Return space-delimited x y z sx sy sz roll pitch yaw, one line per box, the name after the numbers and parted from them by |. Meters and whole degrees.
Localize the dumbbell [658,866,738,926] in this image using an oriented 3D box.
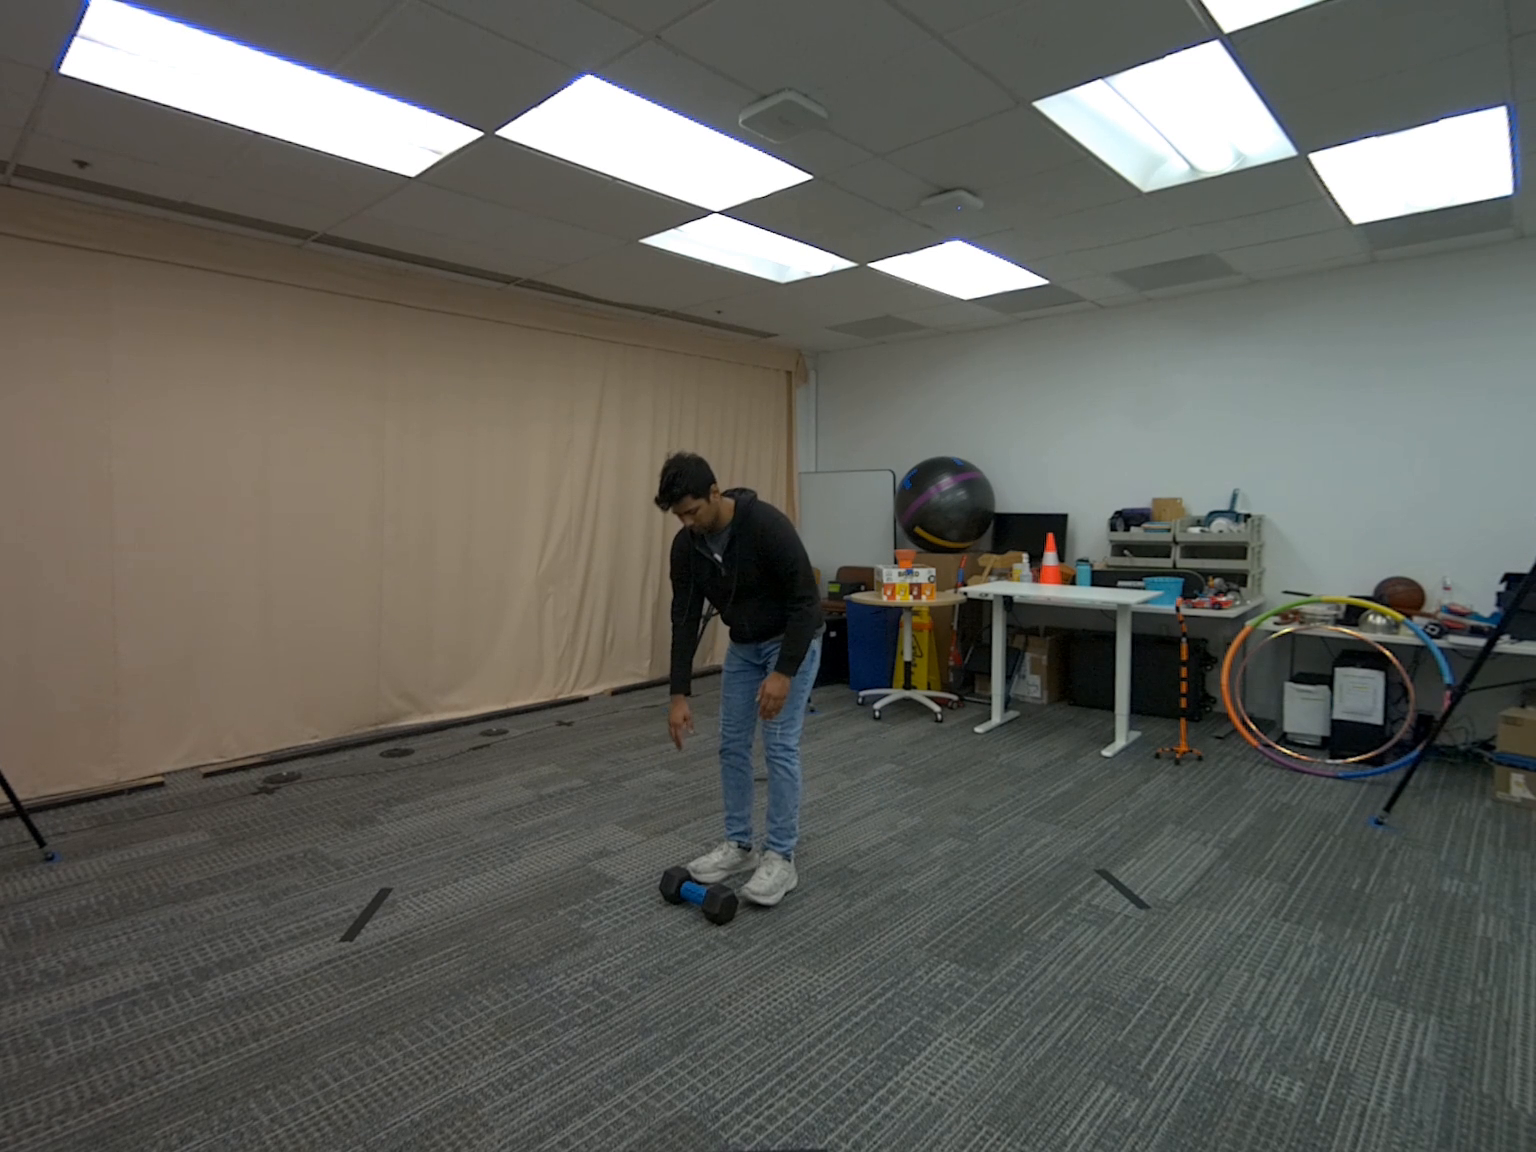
-0.238 1.098 2.897 0.303 0.123 0.105 4 -25 42 | dumbbell
